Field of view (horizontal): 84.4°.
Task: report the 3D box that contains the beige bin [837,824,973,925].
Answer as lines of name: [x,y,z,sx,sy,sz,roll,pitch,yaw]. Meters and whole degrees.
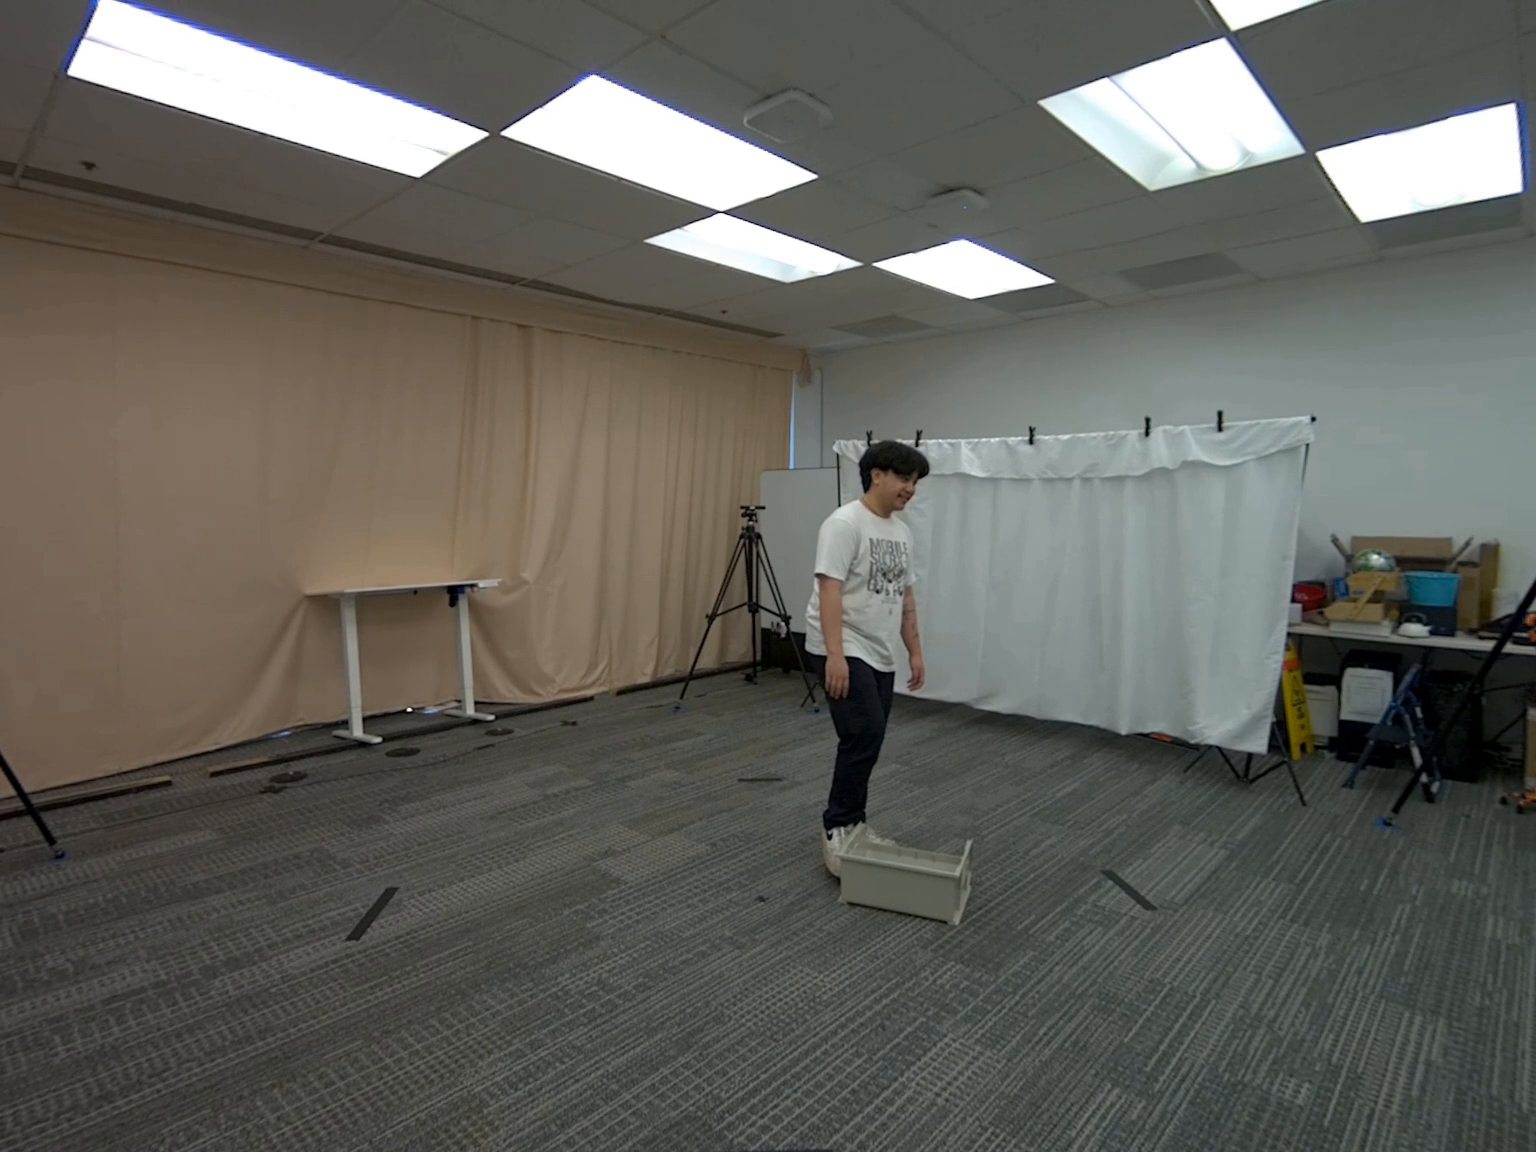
beige bin: [0.502,1.046,3.021,0.433,0.188,0.369,2,6,23]
